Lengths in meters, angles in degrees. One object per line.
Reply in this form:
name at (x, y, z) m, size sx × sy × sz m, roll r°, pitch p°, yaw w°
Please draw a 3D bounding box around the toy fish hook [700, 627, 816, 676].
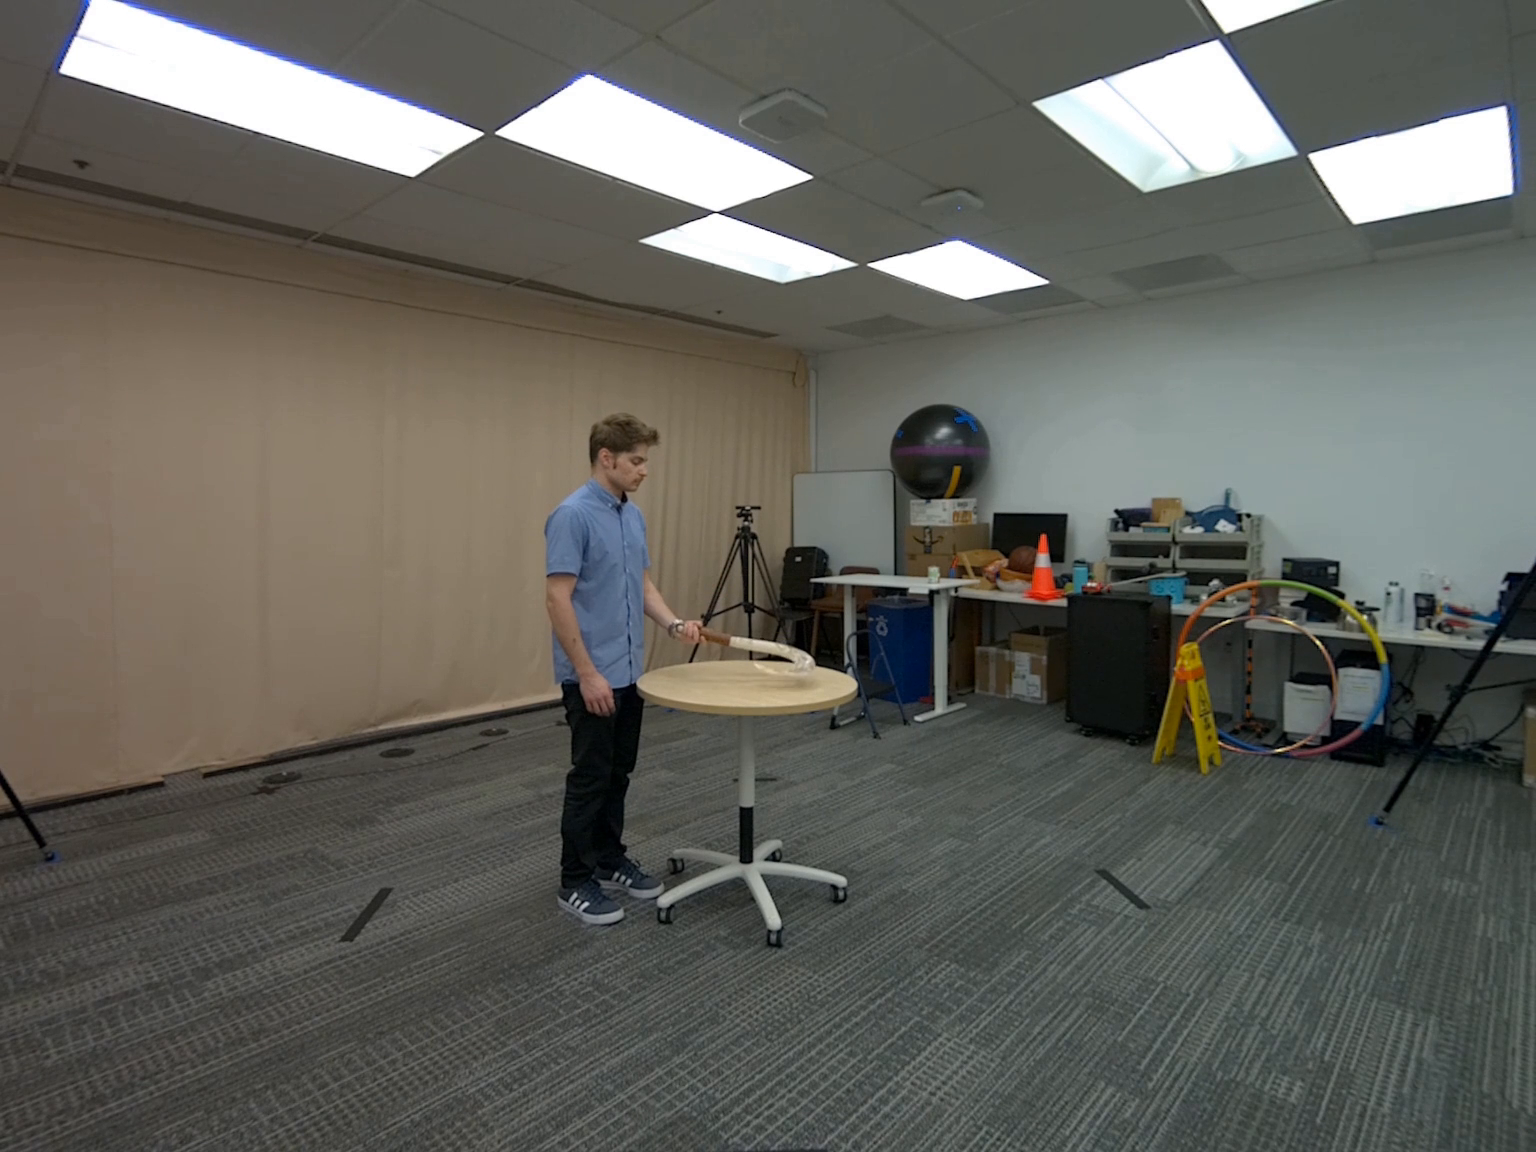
toy fish hook at (-0.081, 0.251, 2.875) m, size 0.512 × 0.048 × 0.223 m, roll 13°, pitch 15°, yaw 8°
